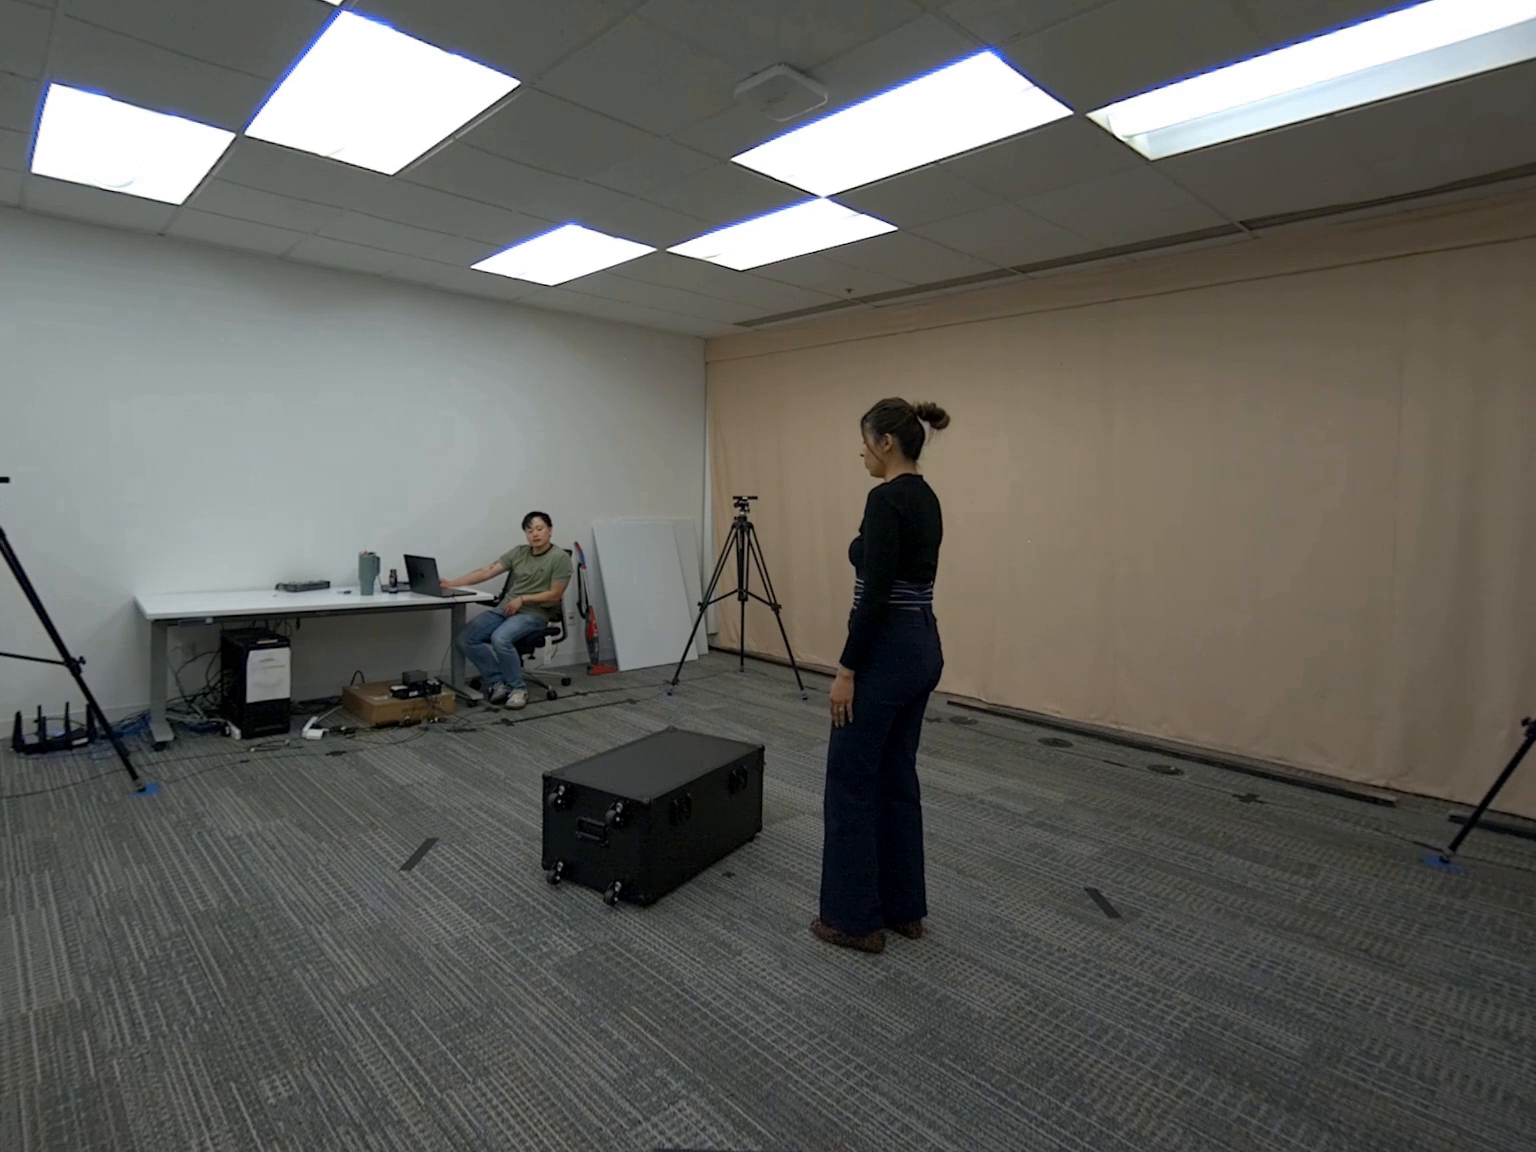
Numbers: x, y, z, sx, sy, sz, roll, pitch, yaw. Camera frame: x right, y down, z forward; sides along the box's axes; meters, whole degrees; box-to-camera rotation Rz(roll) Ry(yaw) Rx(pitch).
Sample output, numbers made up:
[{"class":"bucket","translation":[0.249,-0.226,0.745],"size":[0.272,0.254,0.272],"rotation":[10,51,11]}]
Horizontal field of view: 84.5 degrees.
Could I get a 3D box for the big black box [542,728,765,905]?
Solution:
[{"class":"big black box","translation":[-0.443,0.894,3.231],"size":[0.533,0.395,0.845],"rotation":[5,6,30]}]
